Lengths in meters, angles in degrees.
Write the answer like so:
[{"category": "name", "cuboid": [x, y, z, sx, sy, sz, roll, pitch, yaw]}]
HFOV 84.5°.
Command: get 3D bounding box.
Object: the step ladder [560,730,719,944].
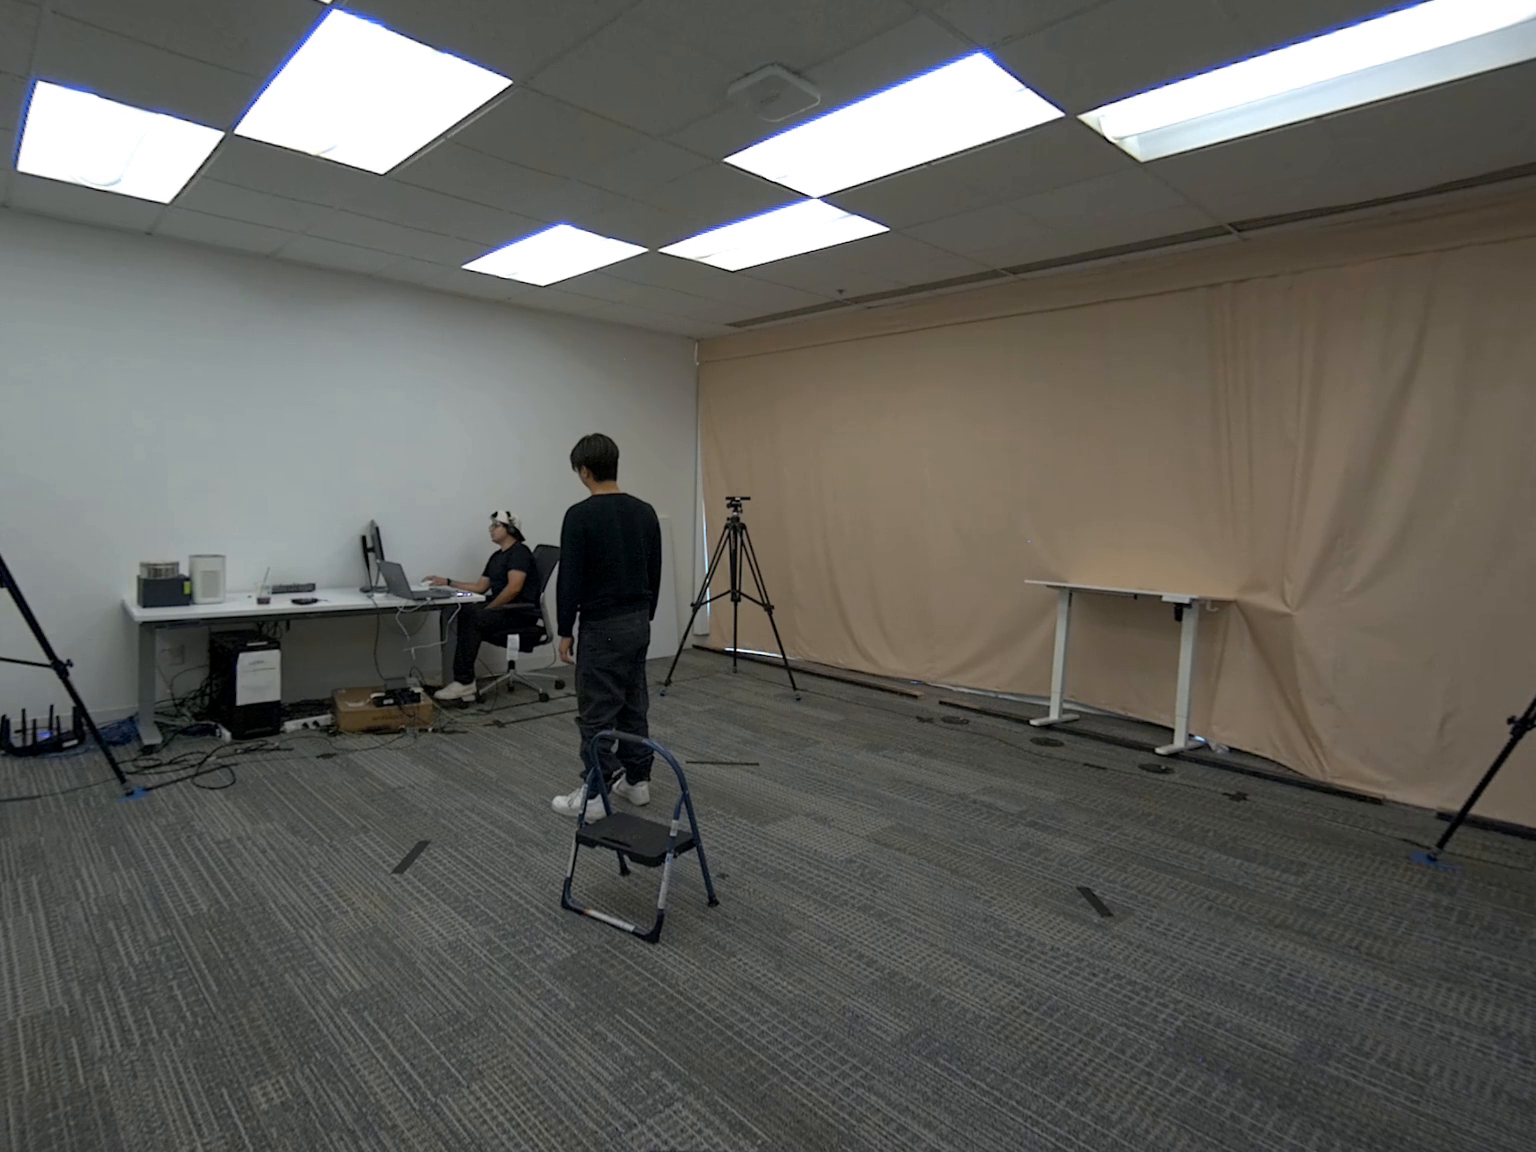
[{"category": "step ladder", "cuboid": [-0.435, 0.820, 2.851, 0.440, 0.605, 0.342, 3, 3, 32]}]
